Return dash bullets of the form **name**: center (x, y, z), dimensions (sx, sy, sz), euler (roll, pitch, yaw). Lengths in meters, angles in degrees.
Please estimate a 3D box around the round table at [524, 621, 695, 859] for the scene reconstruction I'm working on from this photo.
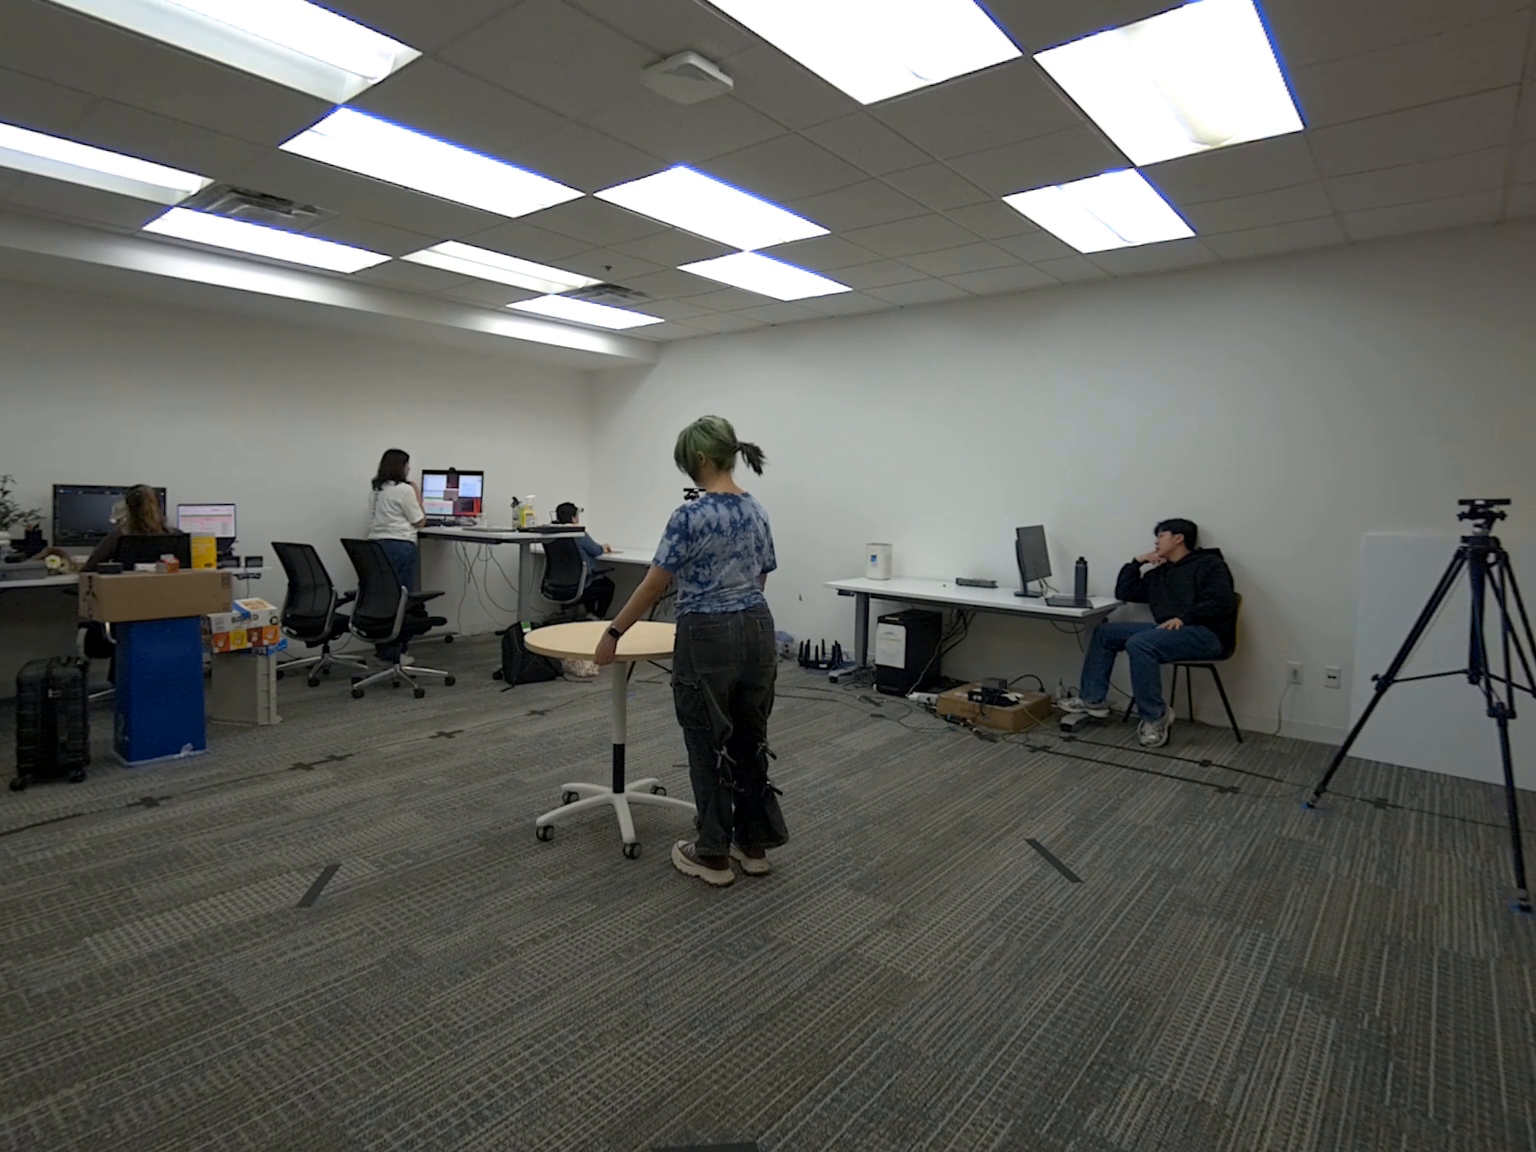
- **round table**: center (-0.623, 0.636, 3.482), dimensions (0.763, 0.791, 0.767), euler (0, 4, -2)
